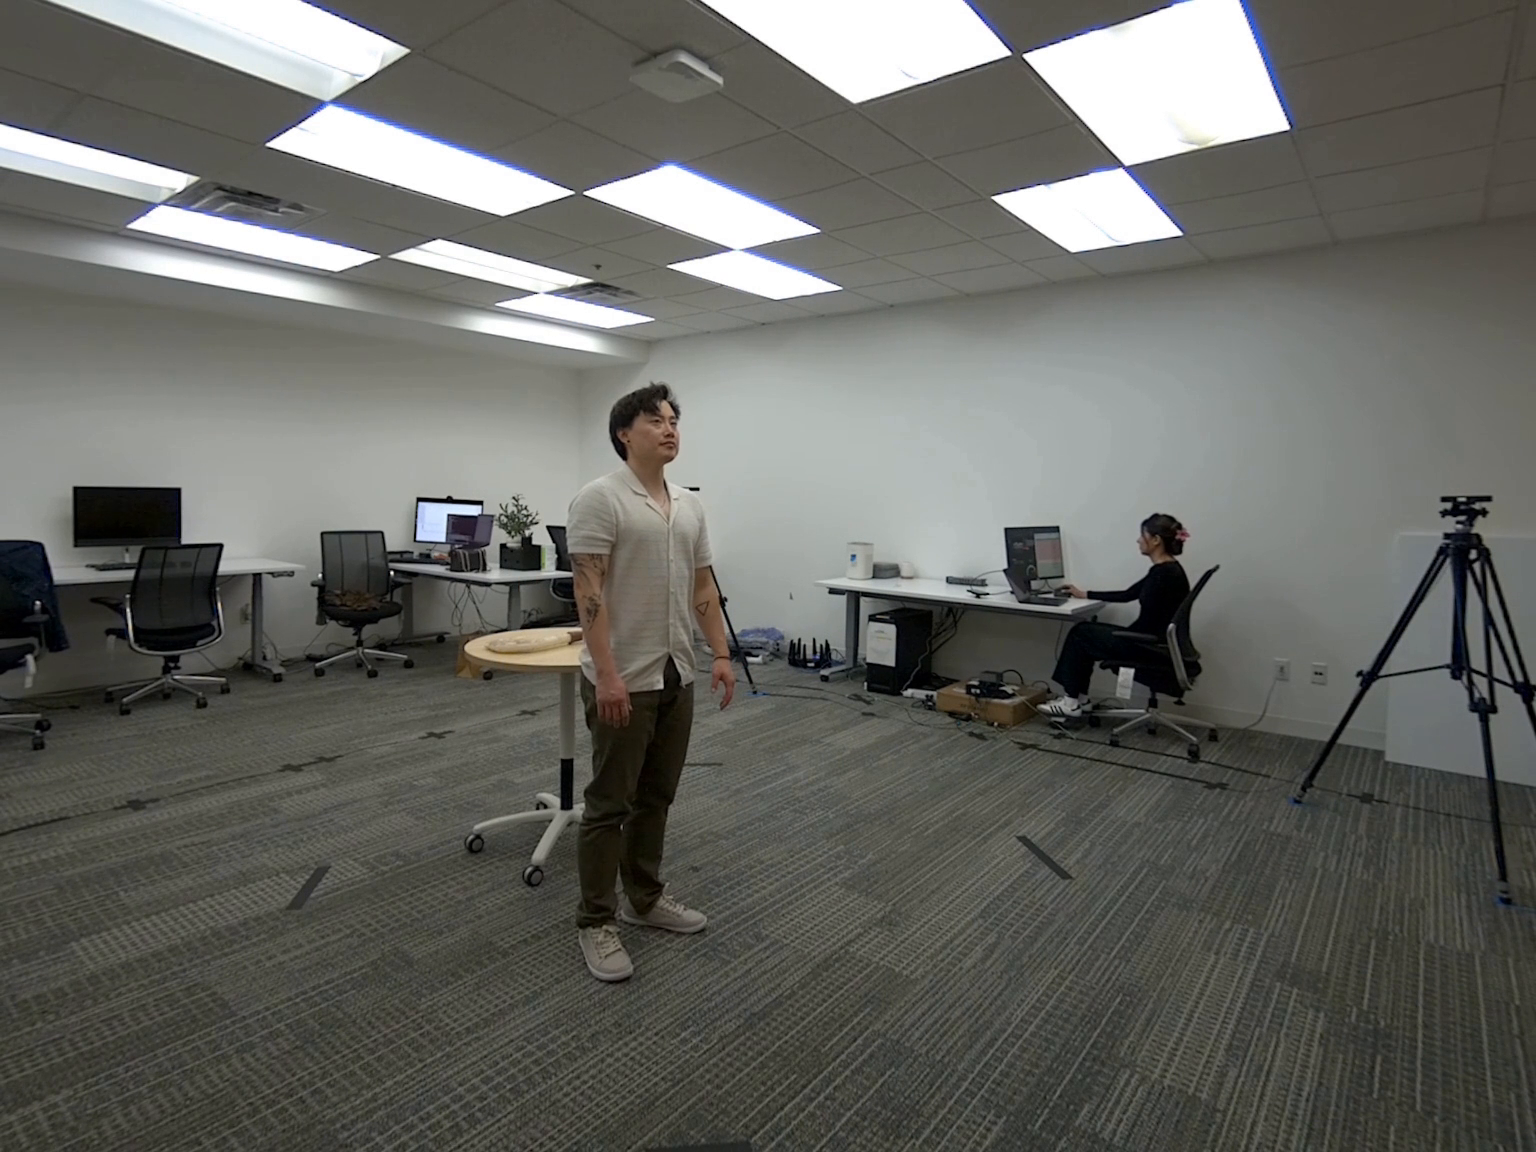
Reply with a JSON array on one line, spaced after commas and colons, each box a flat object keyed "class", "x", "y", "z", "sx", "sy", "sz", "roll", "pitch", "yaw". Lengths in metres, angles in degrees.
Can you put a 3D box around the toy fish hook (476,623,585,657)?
[{"class": "toy fish hook", "x": -0.846, "y": 0.239, "z": 3.260, "sx": 0.491, "sy": 0.048, "sz": 0.232, "roll": -5, "pitch": 8, "yaw": -43}]
